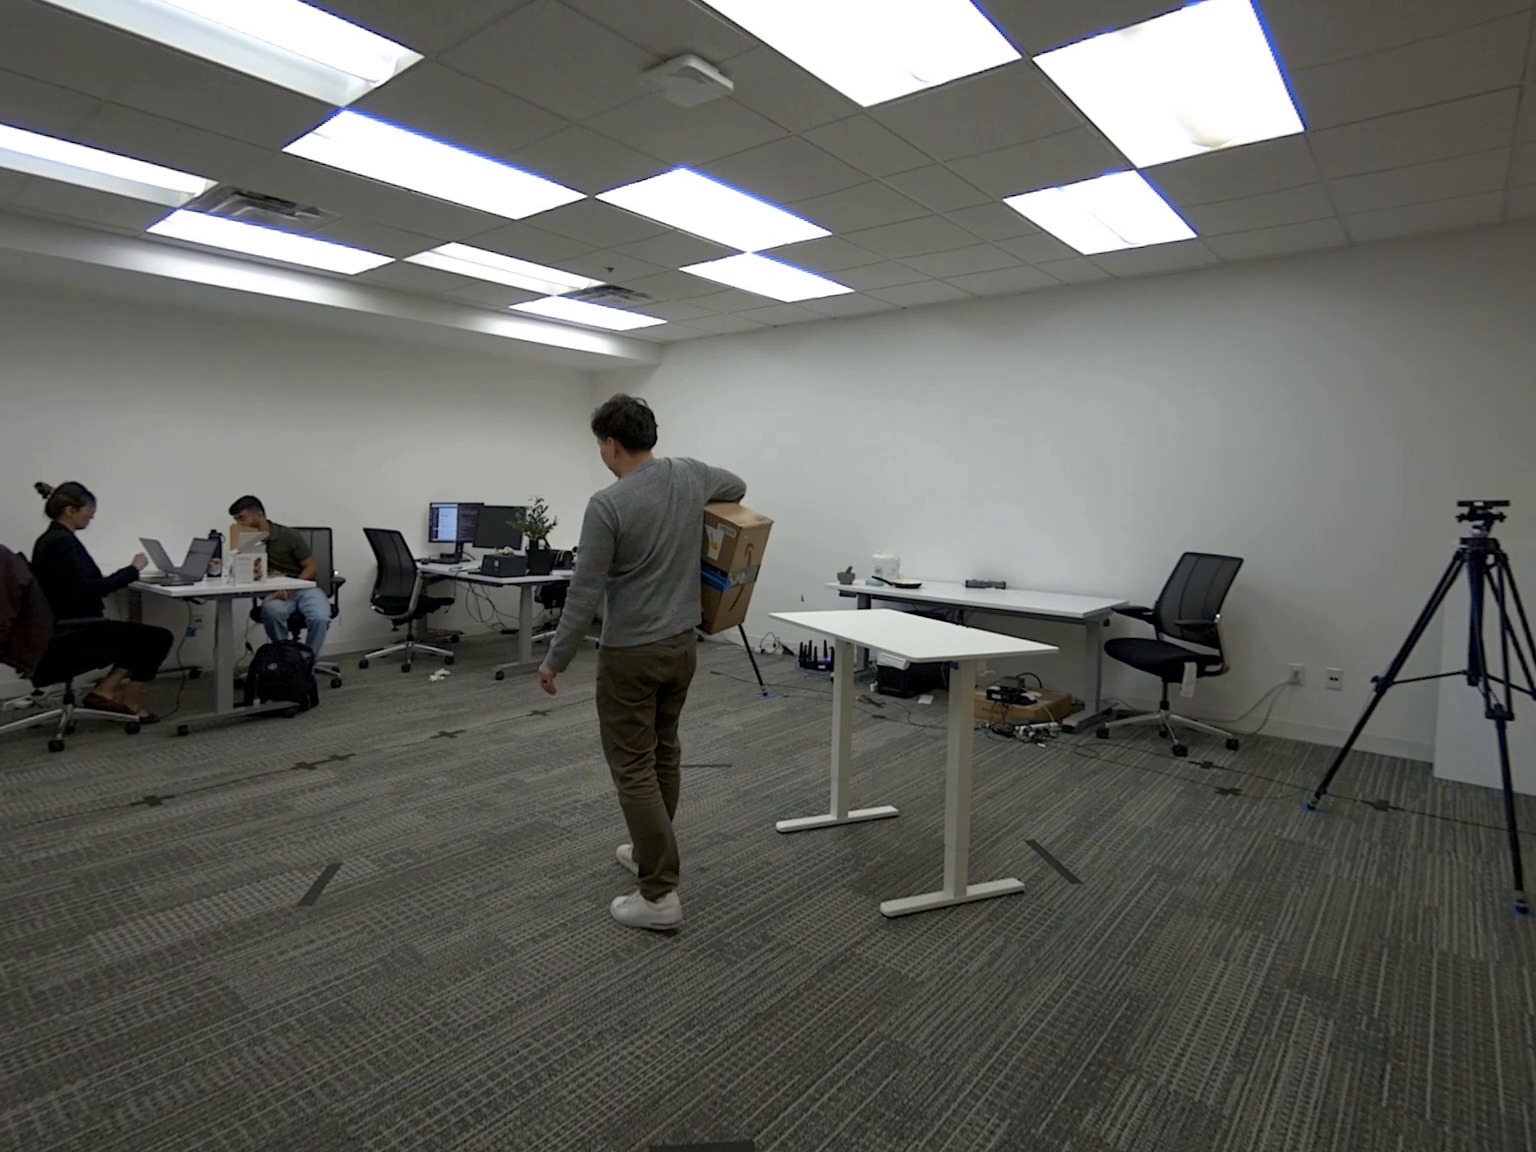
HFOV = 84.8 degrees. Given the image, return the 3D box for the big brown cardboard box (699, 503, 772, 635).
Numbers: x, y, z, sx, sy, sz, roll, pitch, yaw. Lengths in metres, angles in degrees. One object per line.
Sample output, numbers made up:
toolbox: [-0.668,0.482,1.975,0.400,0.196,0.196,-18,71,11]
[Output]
big brown cardboard box: [-0.318,-0.104,3.130,0.610,0.413,0.228,25,21,29]
